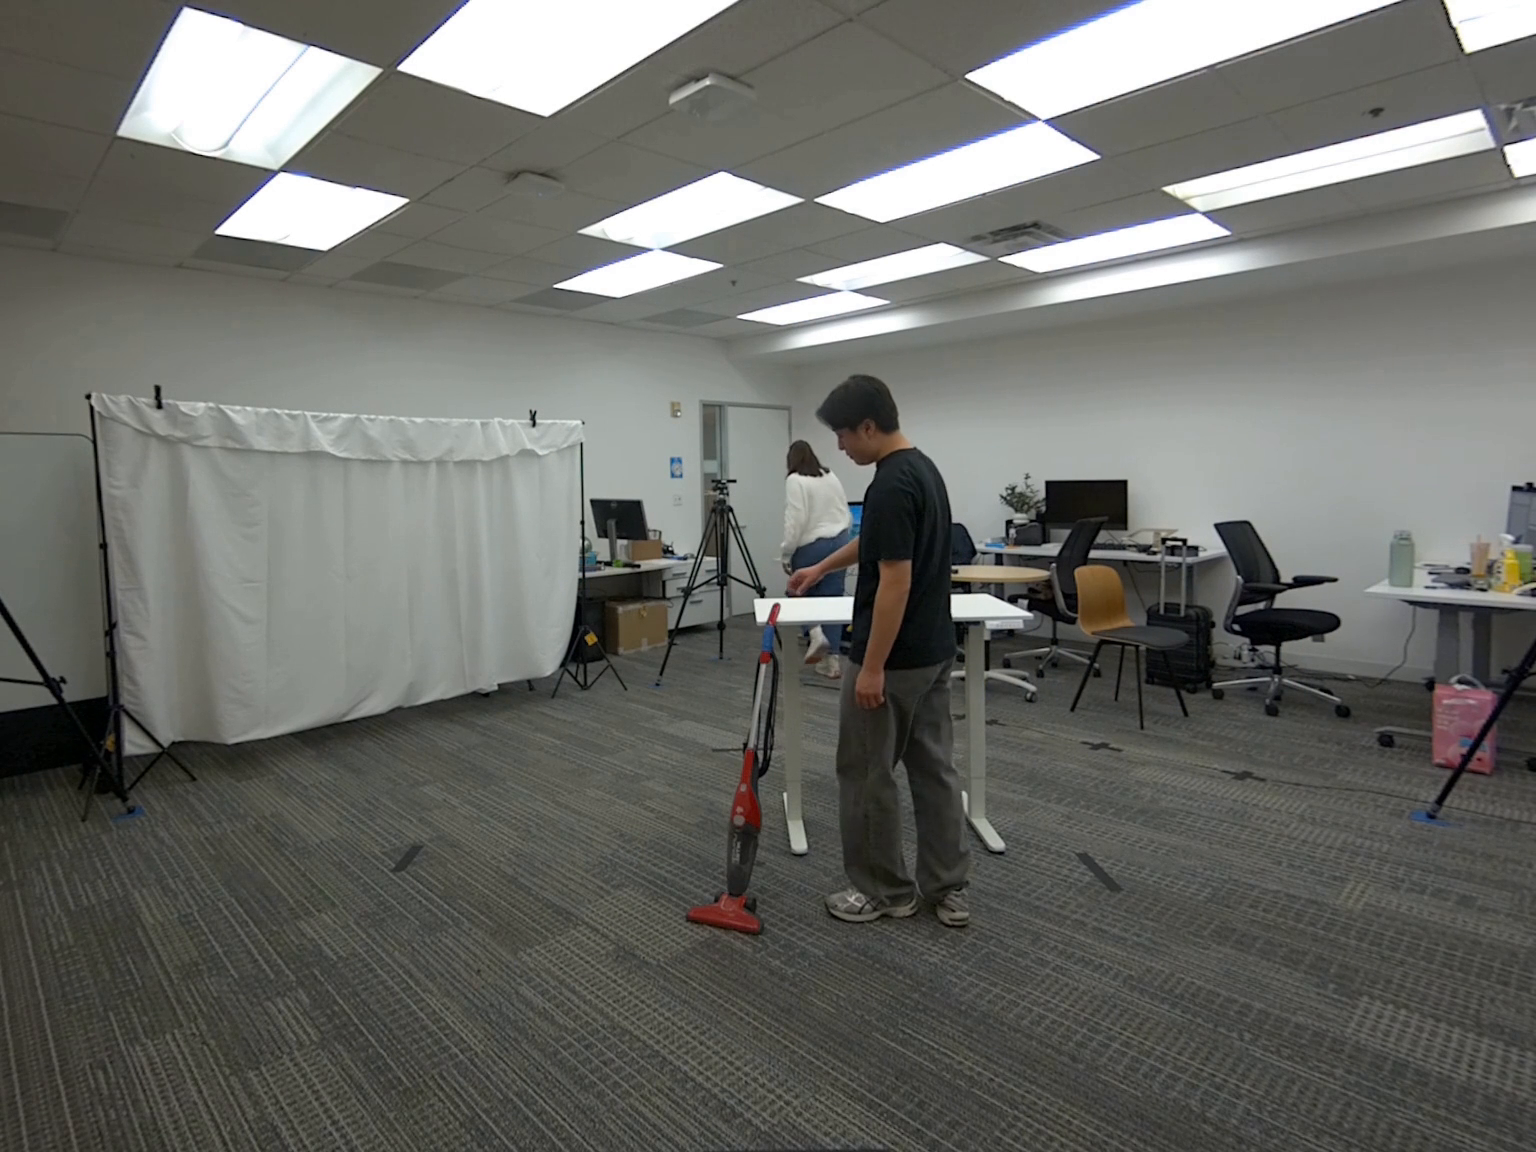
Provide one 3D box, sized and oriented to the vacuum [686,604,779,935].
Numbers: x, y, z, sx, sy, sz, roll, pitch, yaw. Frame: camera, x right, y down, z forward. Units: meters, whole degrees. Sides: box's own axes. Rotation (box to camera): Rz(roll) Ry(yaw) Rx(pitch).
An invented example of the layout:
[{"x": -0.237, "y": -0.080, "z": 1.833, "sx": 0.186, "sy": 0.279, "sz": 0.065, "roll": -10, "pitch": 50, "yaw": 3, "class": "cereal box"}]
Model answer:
[{"x": -0.045, "y": 0.601, "z": 2.928, "sx": 0.258, "sy": 1.064, "sz": 0.138, "roll": -1, "pitch": -24, "yaw": 26, "class": "vacuum"}]
